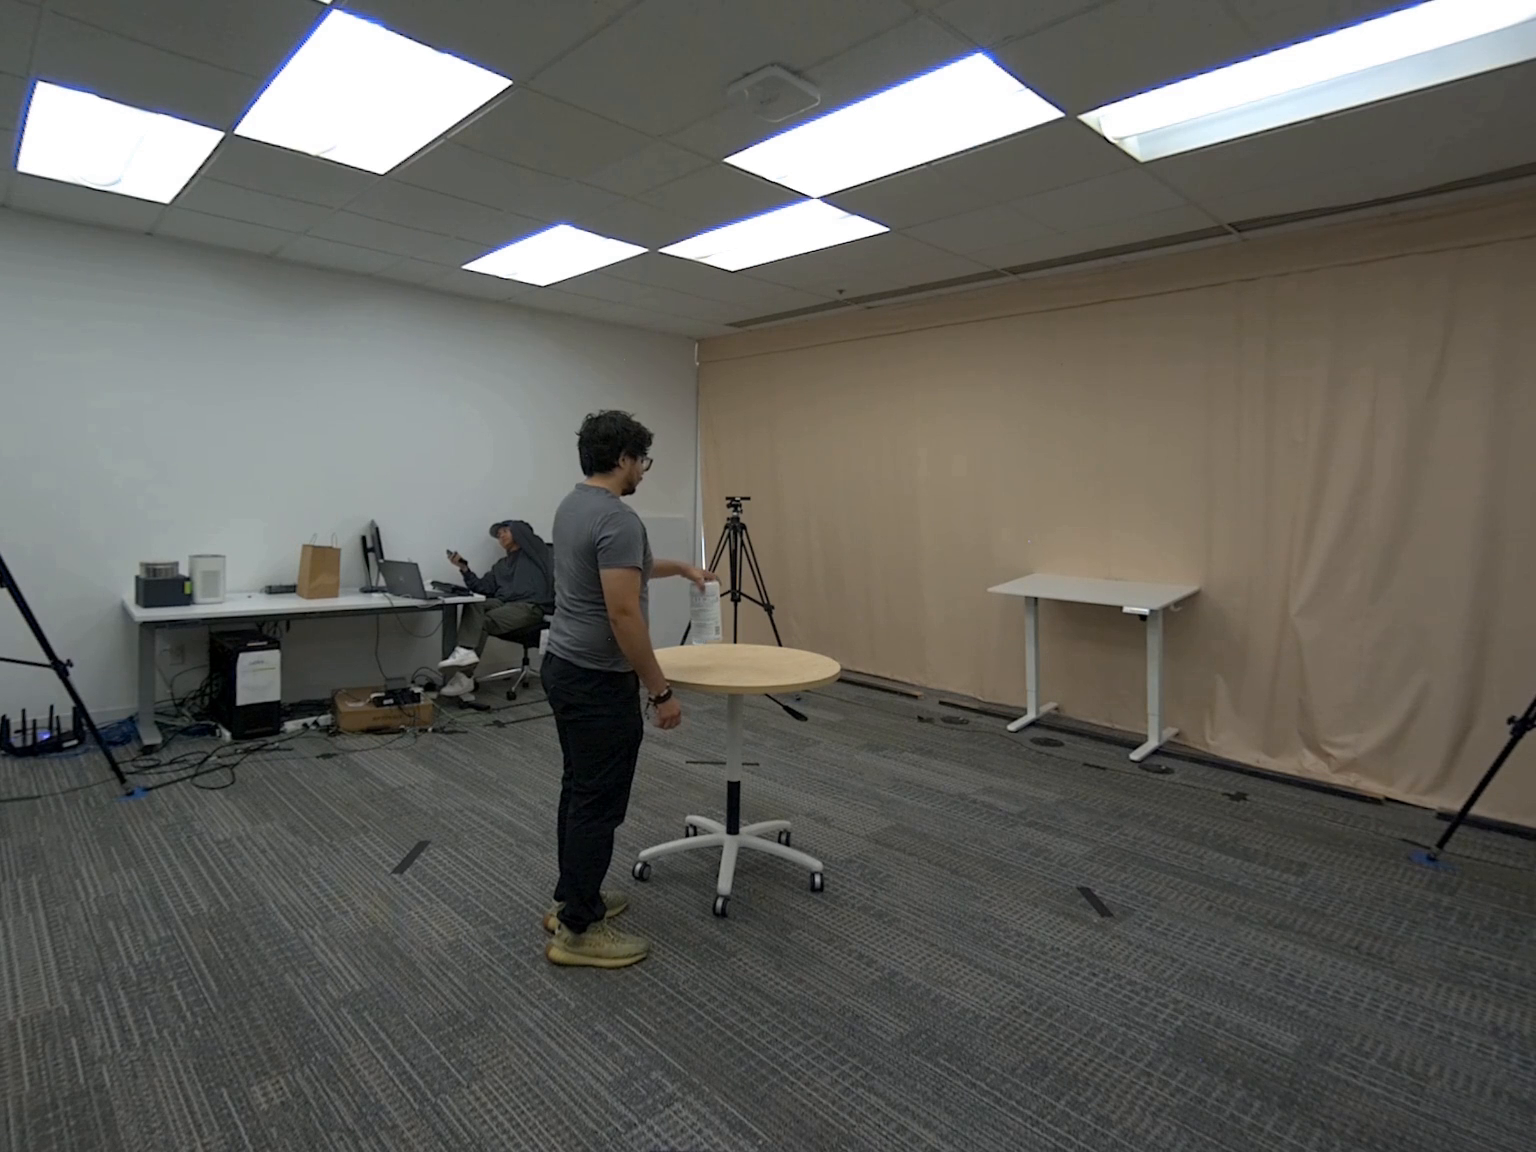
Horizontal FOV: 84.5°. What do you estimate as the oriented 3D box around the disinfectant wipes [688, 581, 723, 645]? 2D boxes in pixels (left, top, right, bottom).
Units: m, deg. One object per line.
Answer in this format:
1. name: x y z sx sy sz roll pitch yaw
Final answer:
1. disinfectant wipes: -0.228 0.125 3.020 0.118 0.217 0.118 -2 4 -1
